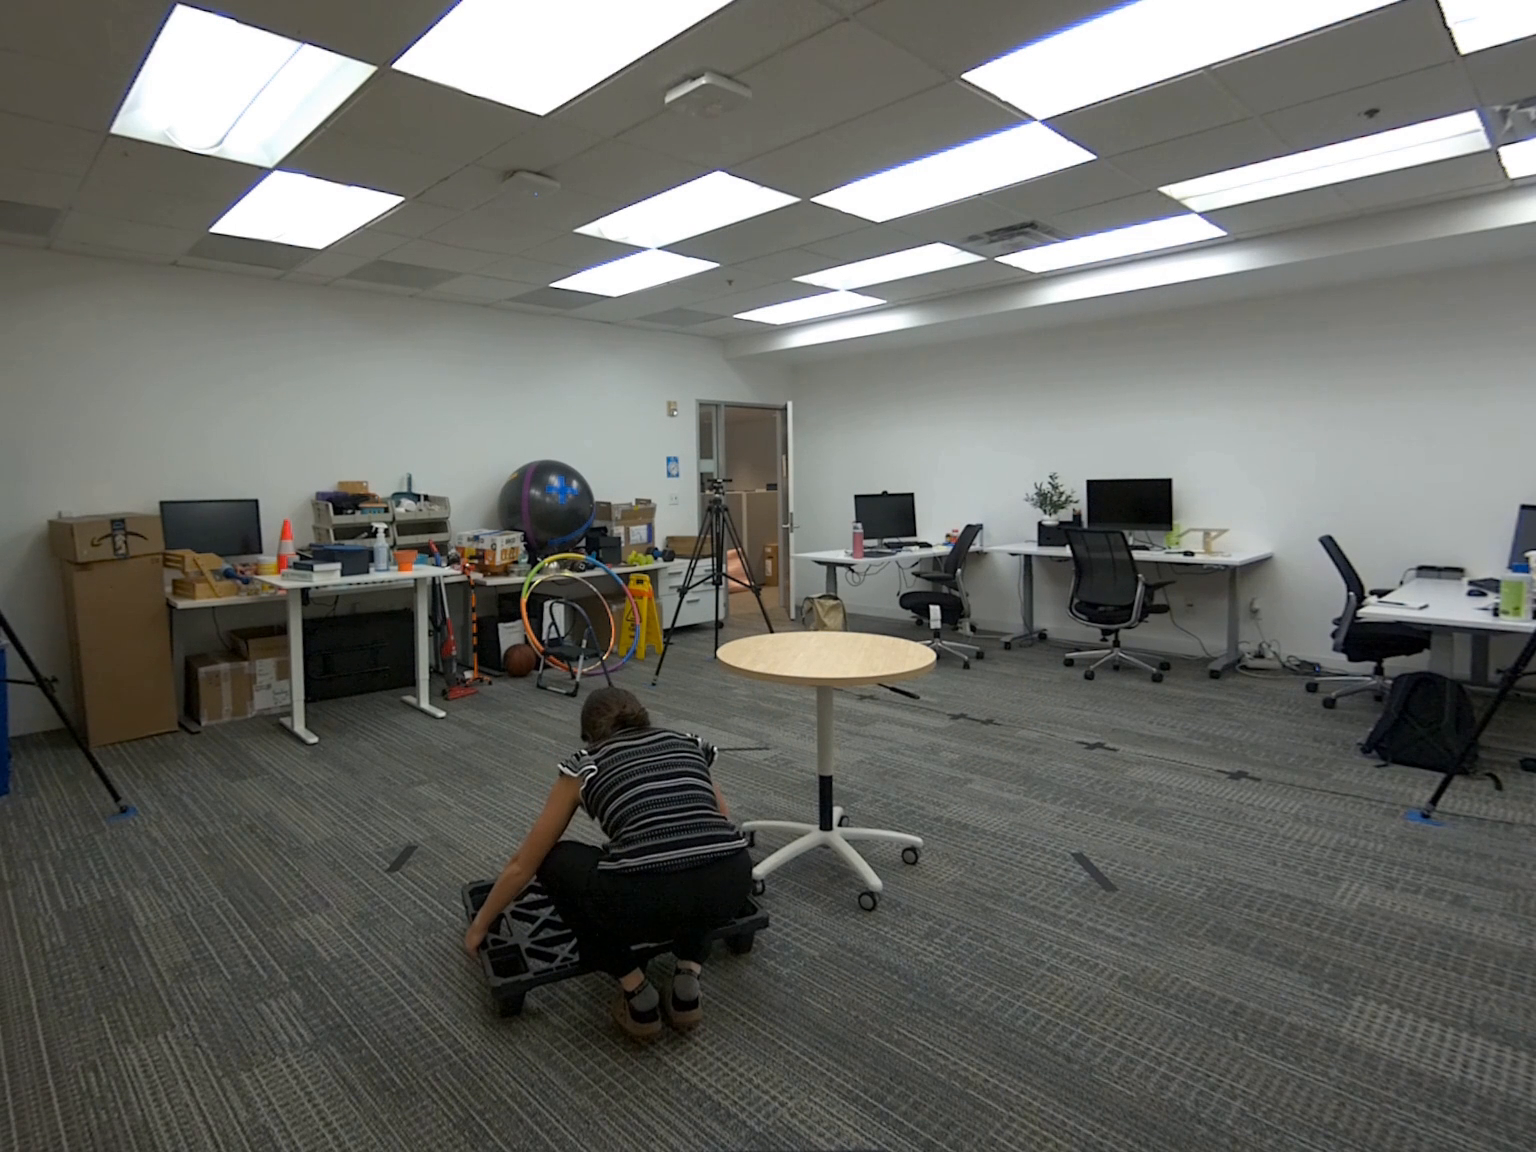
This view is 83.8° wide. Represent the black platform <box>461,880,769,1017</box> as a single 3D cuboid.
[{"bbox_3d":[-0.475,1.047,2.592,0.789,0.143,0.620,-4,7,-25],"label":"black platform"}]
